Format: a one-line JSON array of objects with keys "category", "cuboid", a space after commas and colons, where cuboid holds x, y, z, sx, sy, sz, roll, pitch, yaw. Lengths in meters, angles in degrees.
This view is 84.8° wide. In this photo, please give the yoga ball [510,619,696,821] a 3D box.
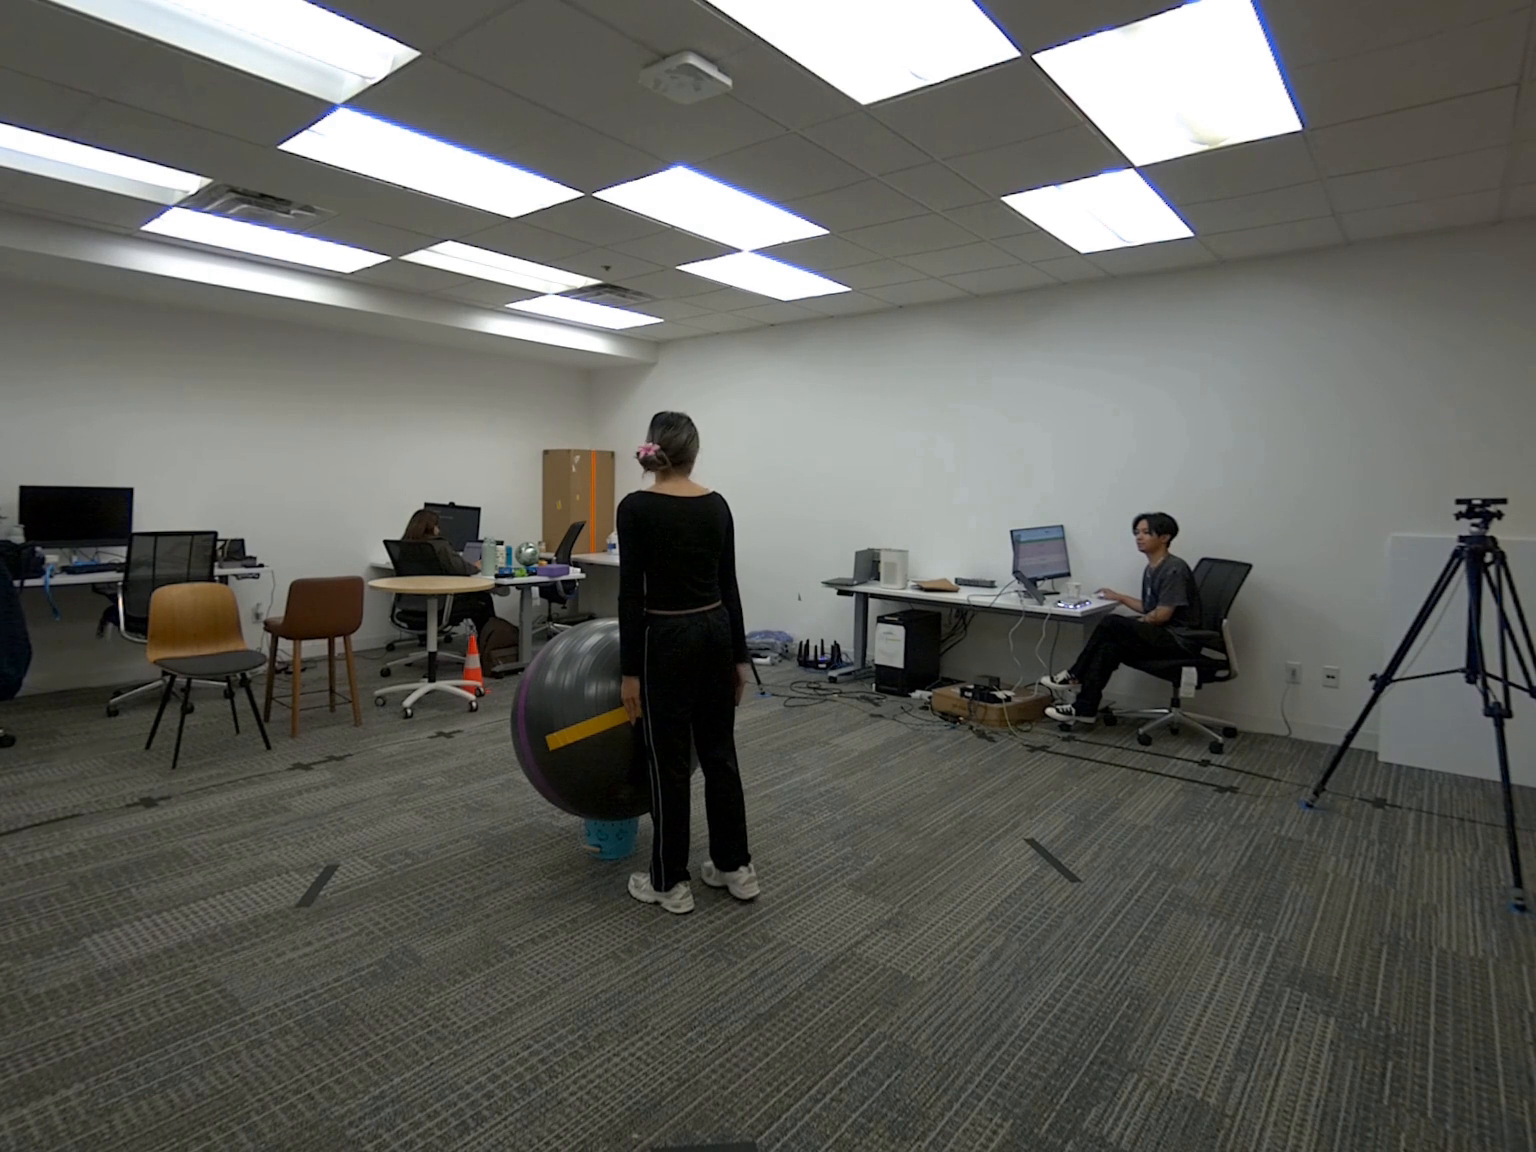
[{"category": "yoga ball", "cuboid": [-0.609, 0.545, 3.253, 0.757, 0.755, 0.762, 1, 4, -2]}]
